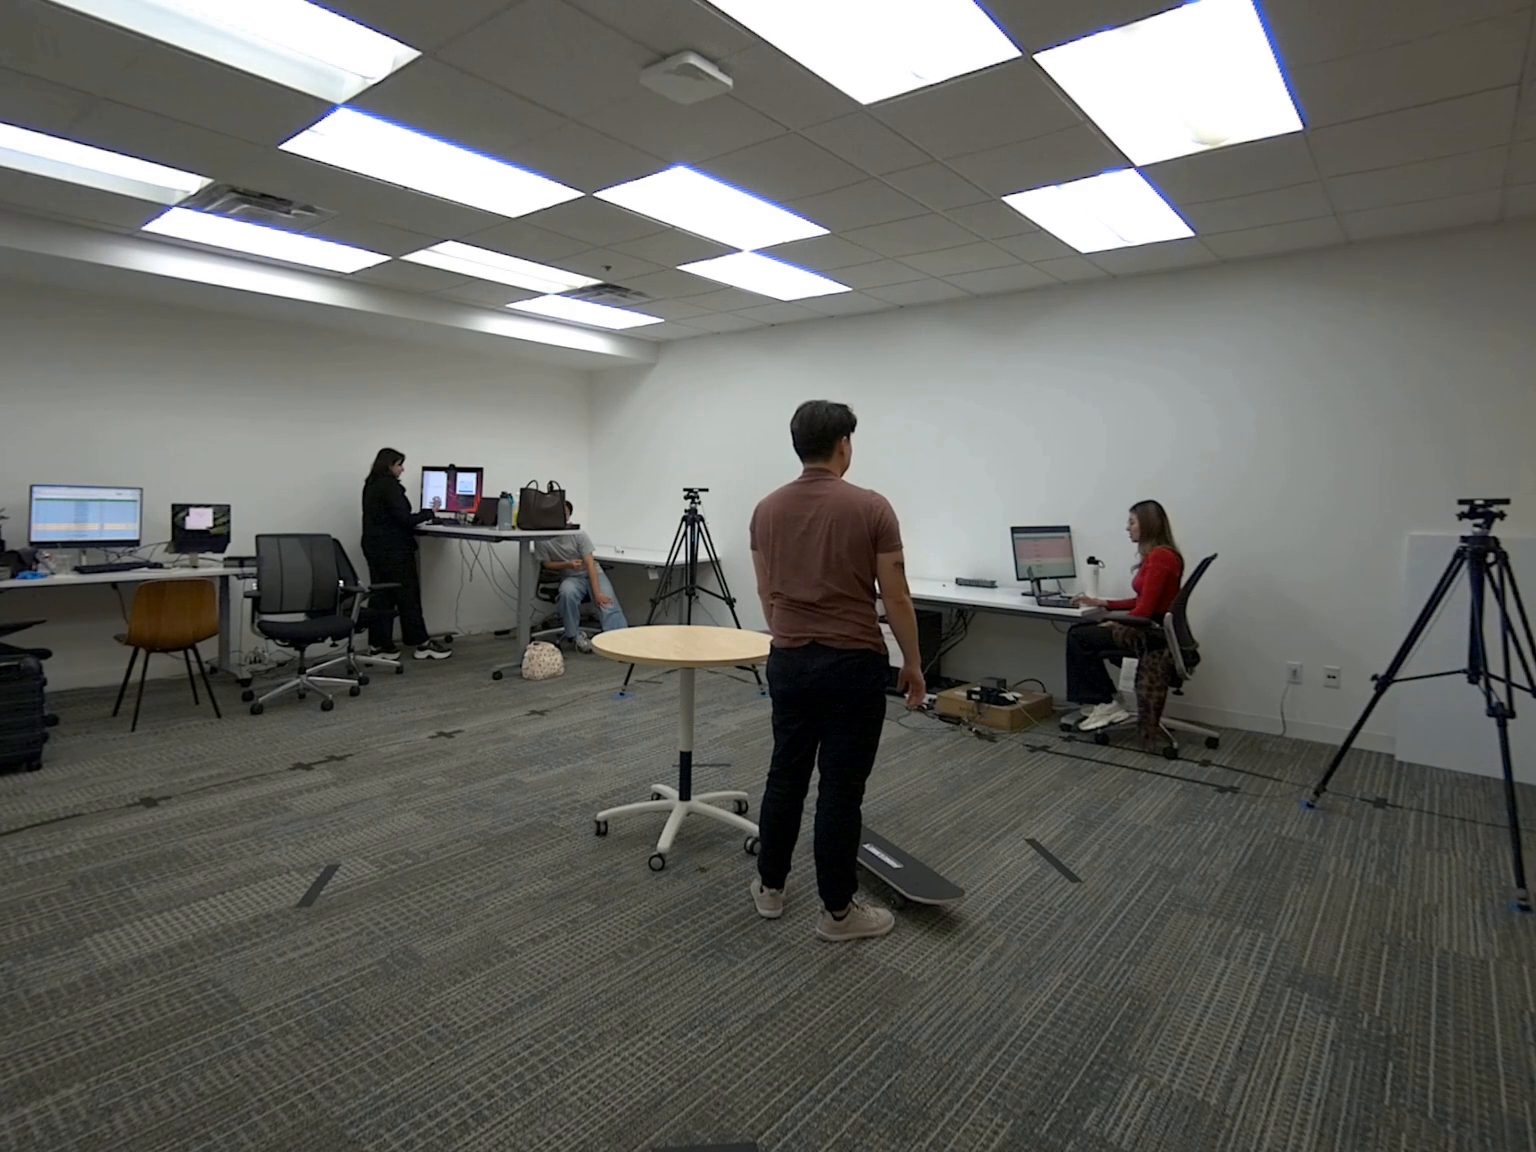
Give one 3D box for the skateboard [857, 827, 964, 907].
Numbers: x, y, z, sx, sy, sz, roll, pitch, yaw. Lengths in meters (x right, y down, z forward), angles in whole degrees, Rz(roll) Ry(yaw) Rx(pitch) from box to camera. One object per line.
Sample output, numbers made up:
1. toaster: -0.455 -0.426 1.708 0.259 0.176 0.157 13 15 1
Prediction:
1. skateboard: 0.406 1.032 3.057 0.189 0.110 0.808 -2 7 -26
